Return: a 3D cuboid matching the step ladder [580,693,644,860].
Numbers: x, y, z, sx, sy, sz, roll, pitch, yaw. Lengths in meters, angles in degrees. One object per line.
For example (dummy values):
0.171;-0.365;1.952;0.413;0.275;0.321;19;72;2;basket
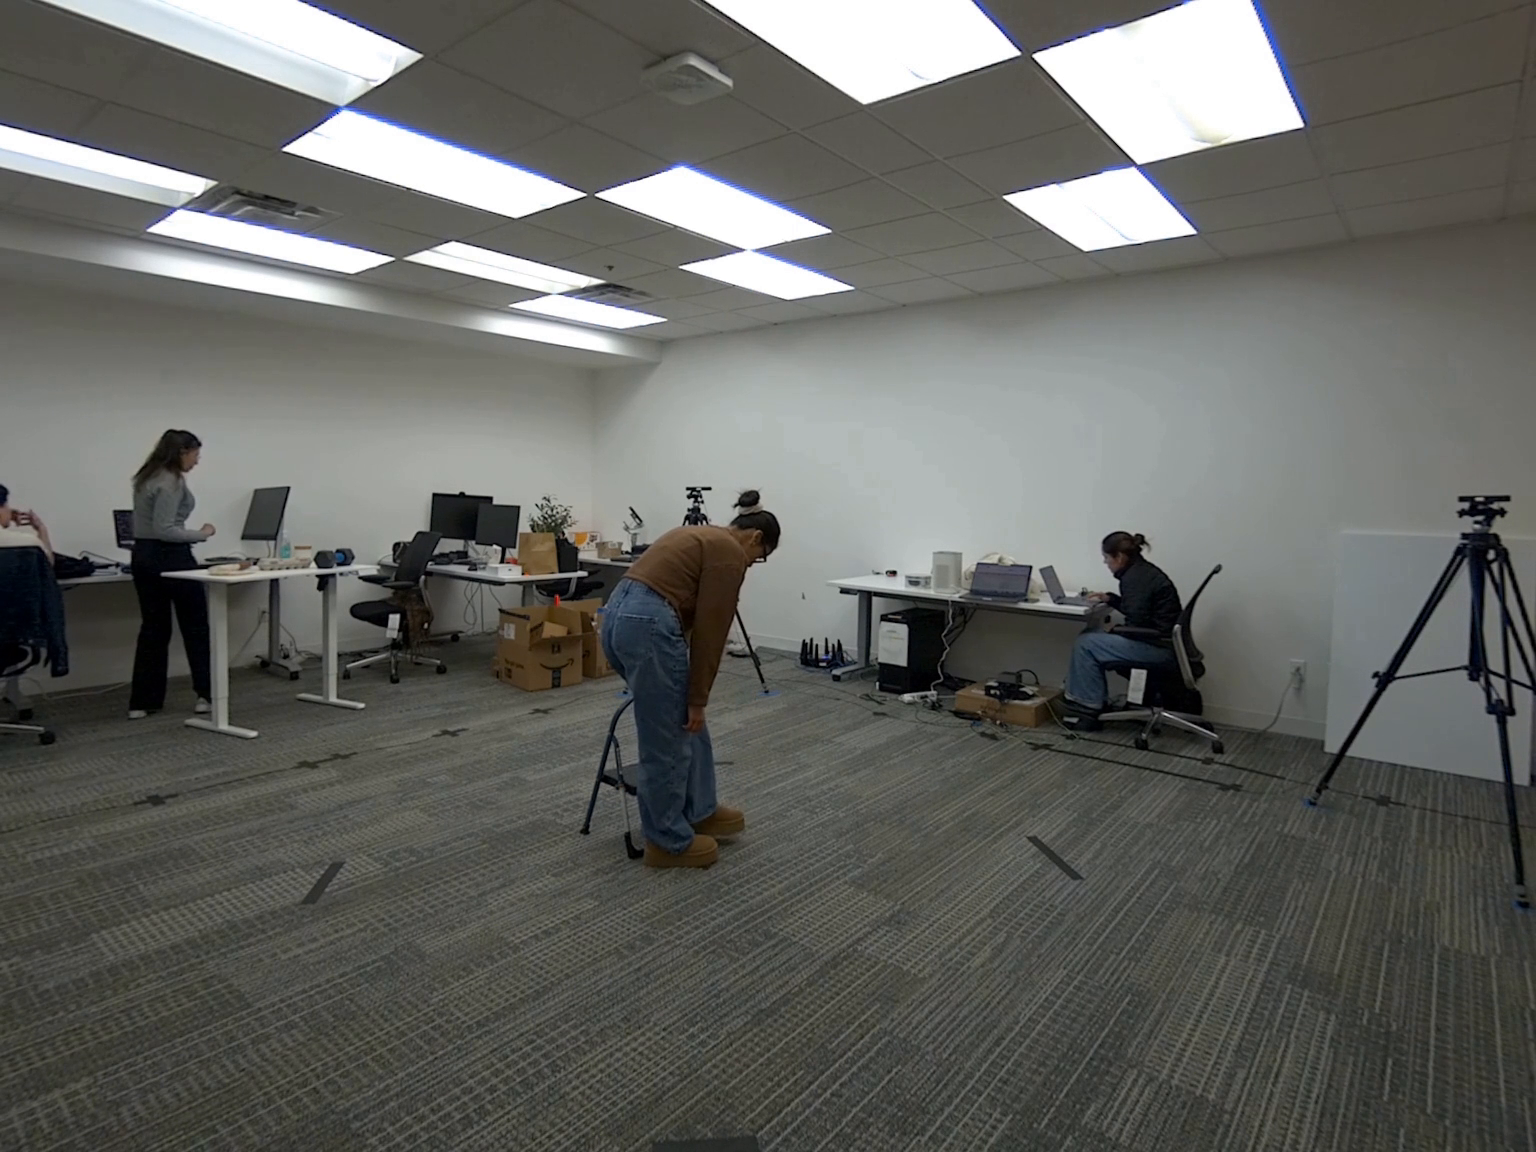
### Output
-0.495;0.726;3.417;0.417;0.604;0.361;-2;6;-44;step ladder
